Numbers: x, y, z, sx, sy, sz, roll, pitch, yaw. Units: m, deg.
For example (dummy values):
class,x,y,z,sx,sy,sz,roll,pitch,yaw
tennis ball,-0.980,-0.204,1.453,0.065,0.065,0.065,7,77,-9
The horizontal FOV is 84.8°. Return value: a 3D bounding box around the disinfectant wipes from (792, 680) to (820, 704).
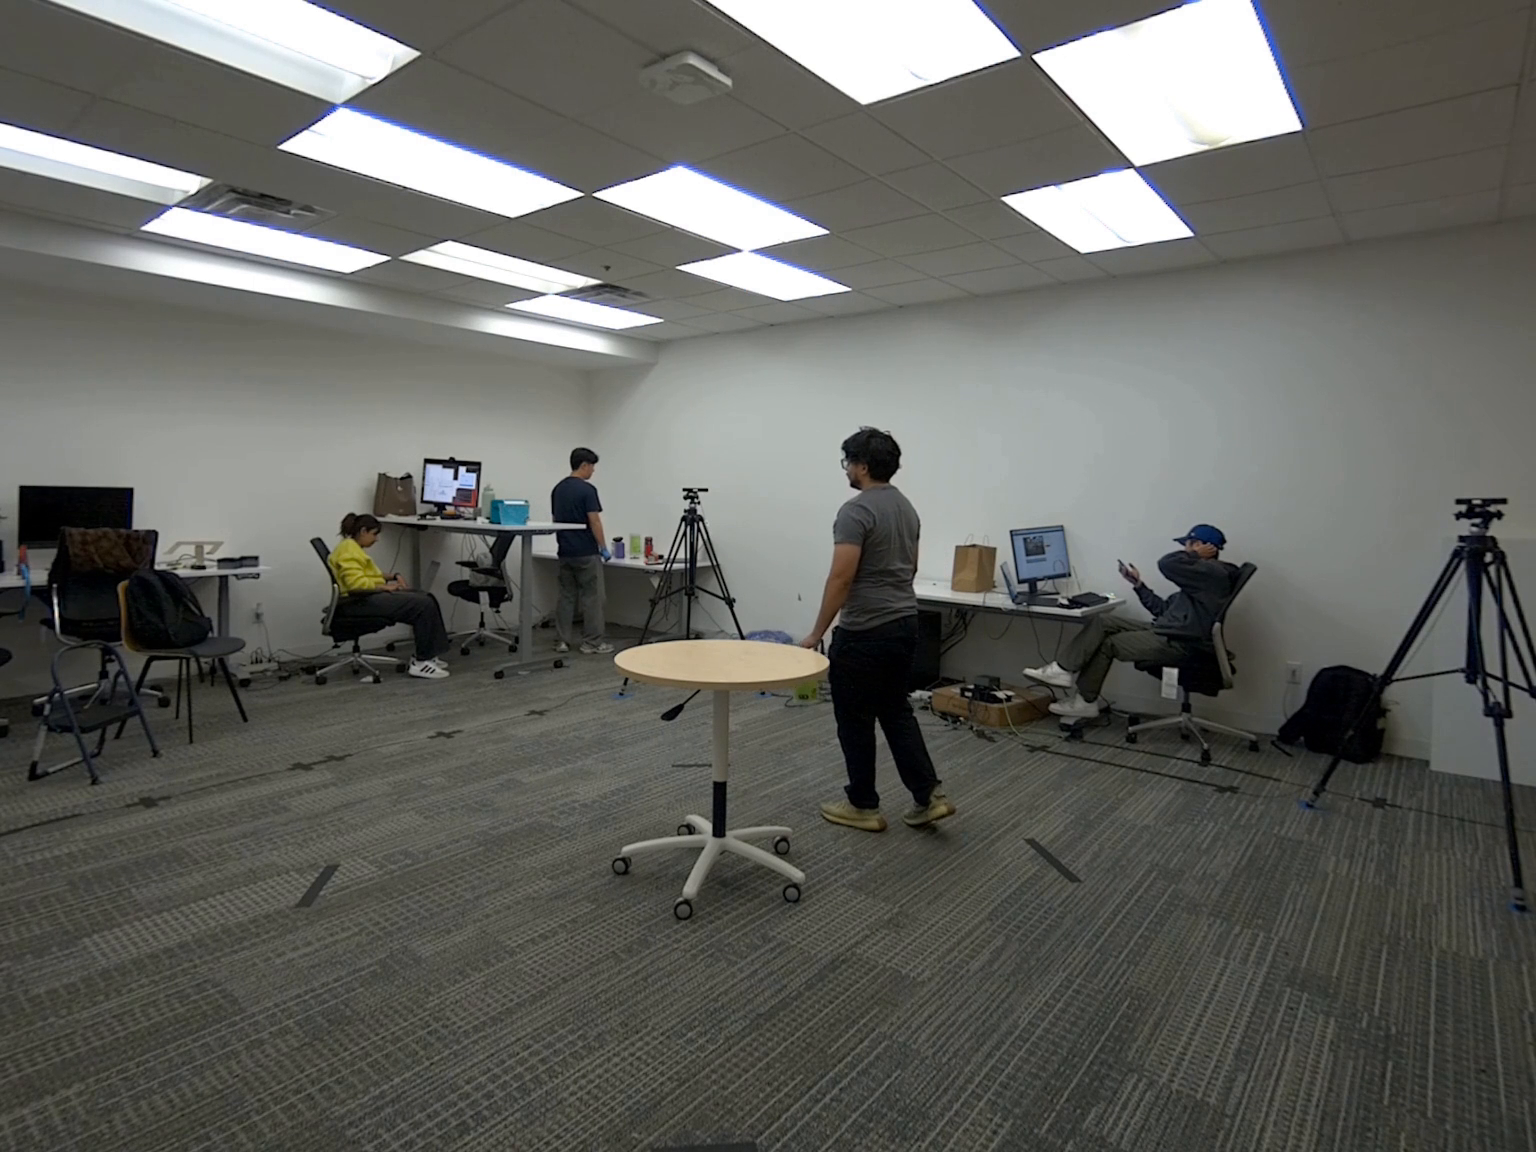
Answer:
class,x,y,z,sx,sy,sz,roll,pitch,yaw
disinfectant wipes,0.151,0.410,3.480,0.118,0.215,0.119,-2,11,-1
